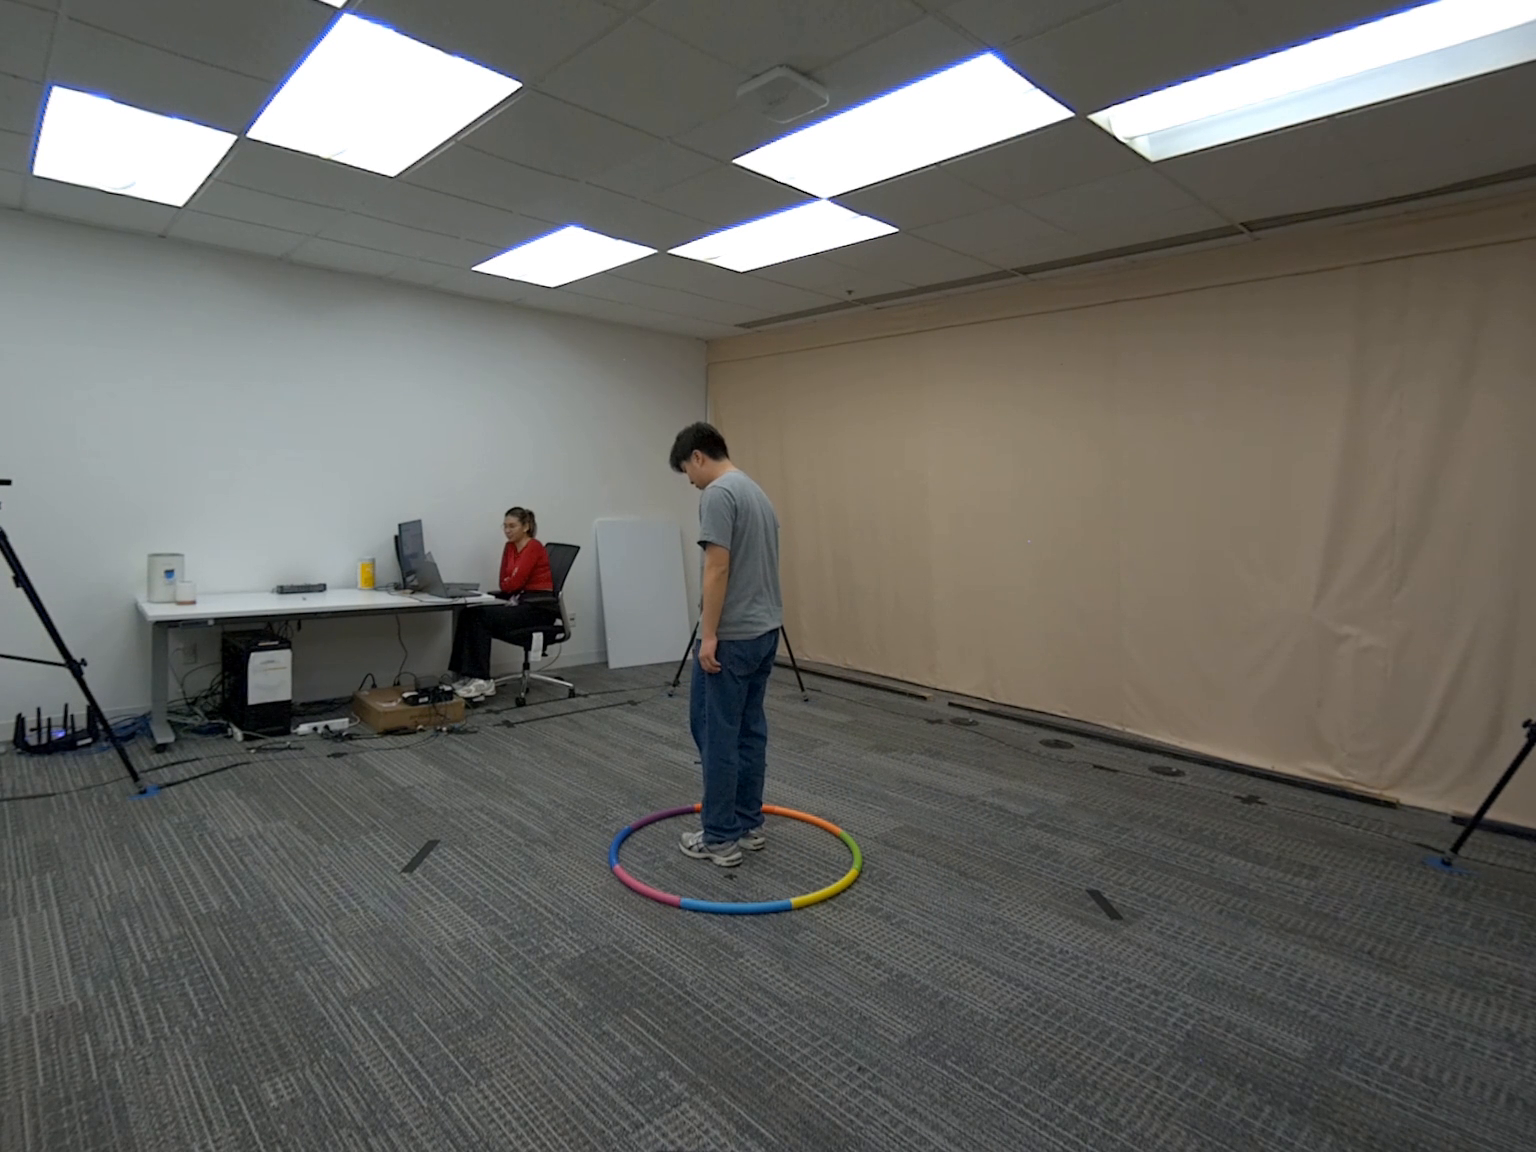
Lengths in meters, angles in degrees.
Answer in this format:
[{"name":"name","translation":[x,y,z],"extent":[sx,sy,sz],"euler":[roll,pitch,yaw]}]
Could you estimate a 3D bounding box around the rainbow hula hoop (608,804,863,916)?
[{"name":"rainbow hula hoop","translation":[-0.140,1.059,3.301],"extent":[0.978,0.035,0.982],"euler":[1,5,-1]}]
